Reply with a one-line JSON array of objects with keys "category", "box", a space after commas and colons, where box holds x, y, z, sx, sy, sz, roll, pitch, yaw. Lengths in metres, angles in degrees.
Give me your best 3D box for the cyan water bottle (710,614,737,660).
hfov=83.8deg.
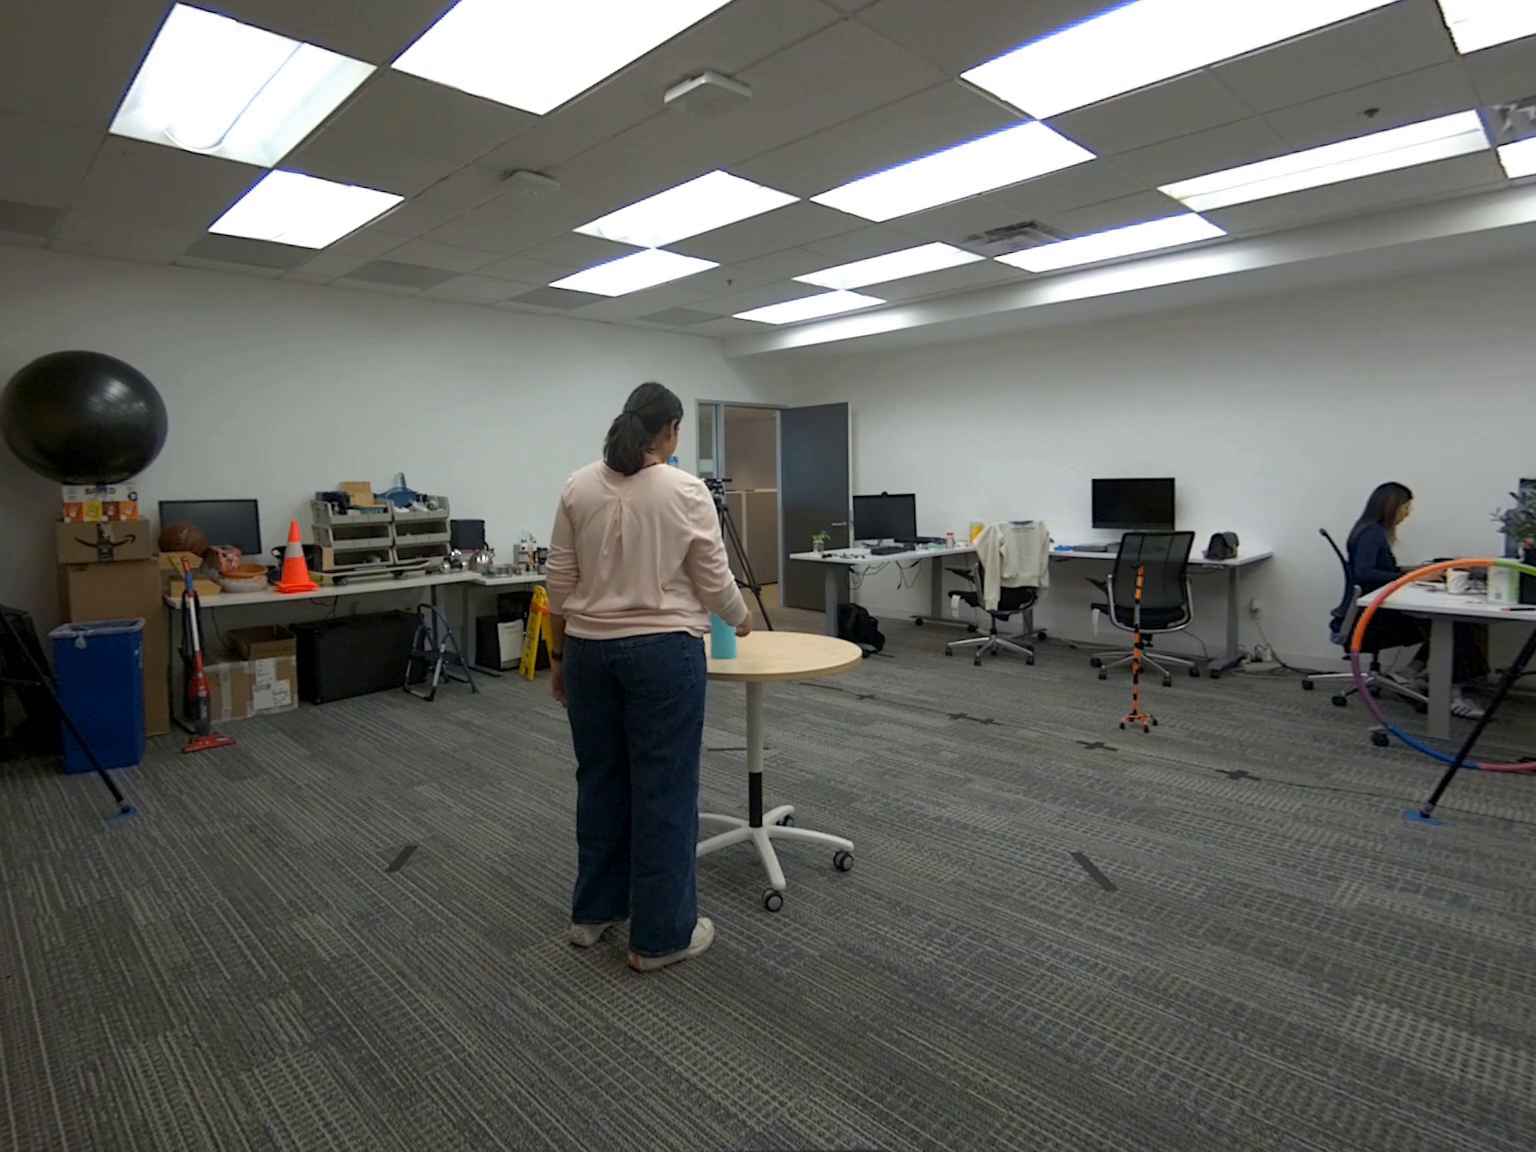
[{"category": "cyan water bottle", "box": [-0.147, 0.139, 2.941, 0.092, 0.282, 0.093, 0, 4, -2]}]
